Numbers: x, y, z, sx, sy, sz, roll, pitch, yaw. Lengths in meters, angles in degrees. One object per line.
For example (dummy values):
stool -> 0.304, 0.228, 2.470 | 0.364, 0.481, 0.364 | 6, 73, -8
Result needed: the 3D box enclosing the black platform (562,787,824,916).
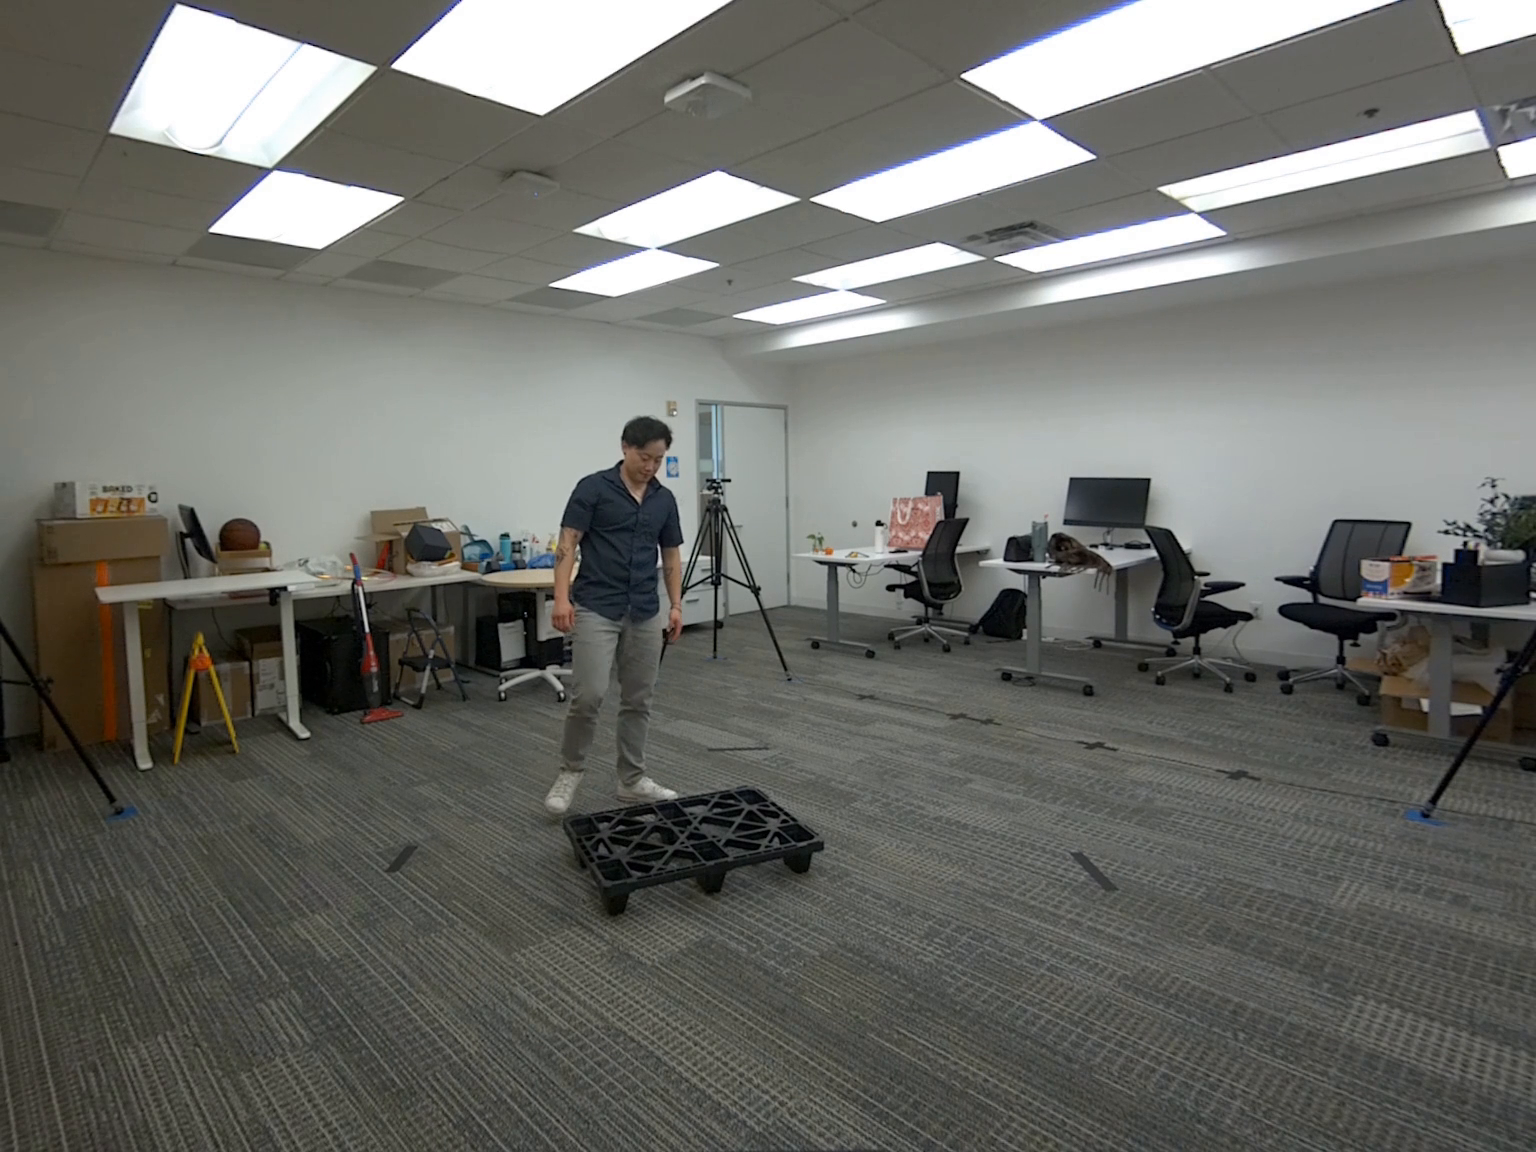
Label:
black platform -> -0.288, 0.982, 3.101 | 0.789, 0.143, 0.620 | -4, 7, -24
